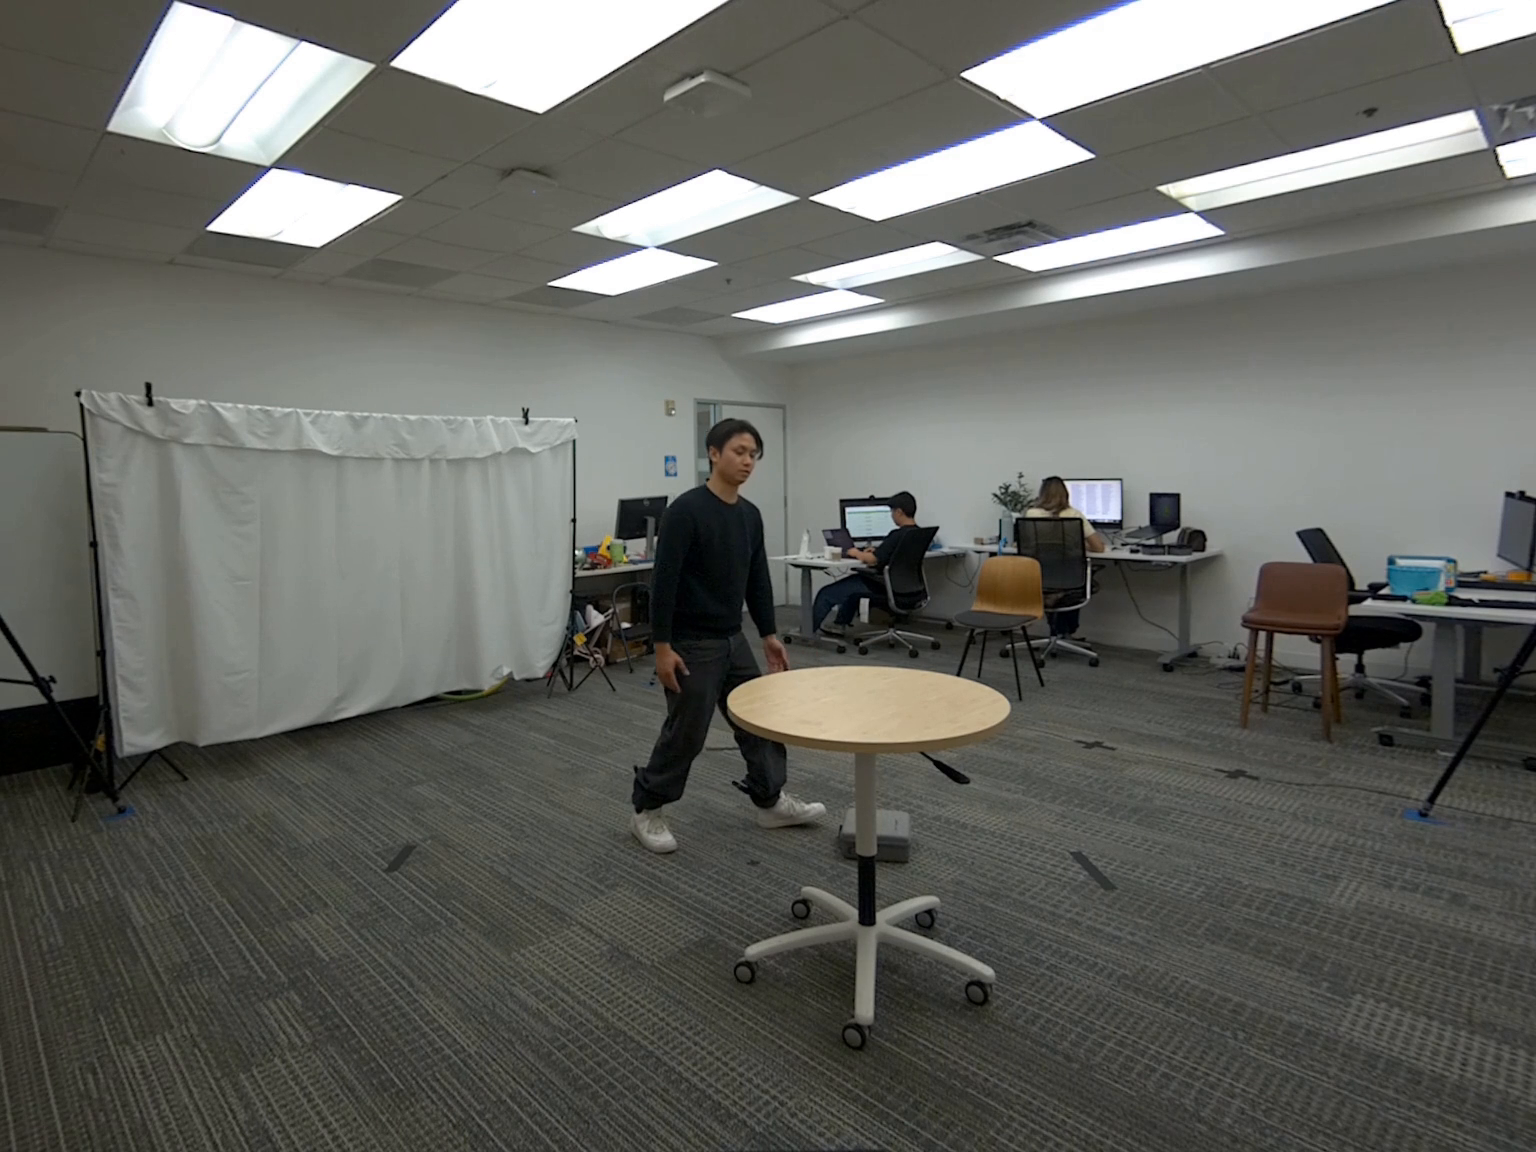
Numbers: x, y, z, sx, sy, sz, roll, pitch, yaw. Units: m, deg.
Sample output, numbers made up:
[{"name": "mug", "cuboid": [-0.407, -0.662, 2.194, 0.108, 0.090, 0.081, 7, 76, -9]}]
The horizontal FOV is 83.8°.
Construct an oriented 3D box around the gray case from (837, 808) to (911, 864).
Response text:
[{"name": "gray case", "cuboid": [0.403, 0.960, 3.204, 0.264, 0.104, 0.255, -1, 6, 13]}]
